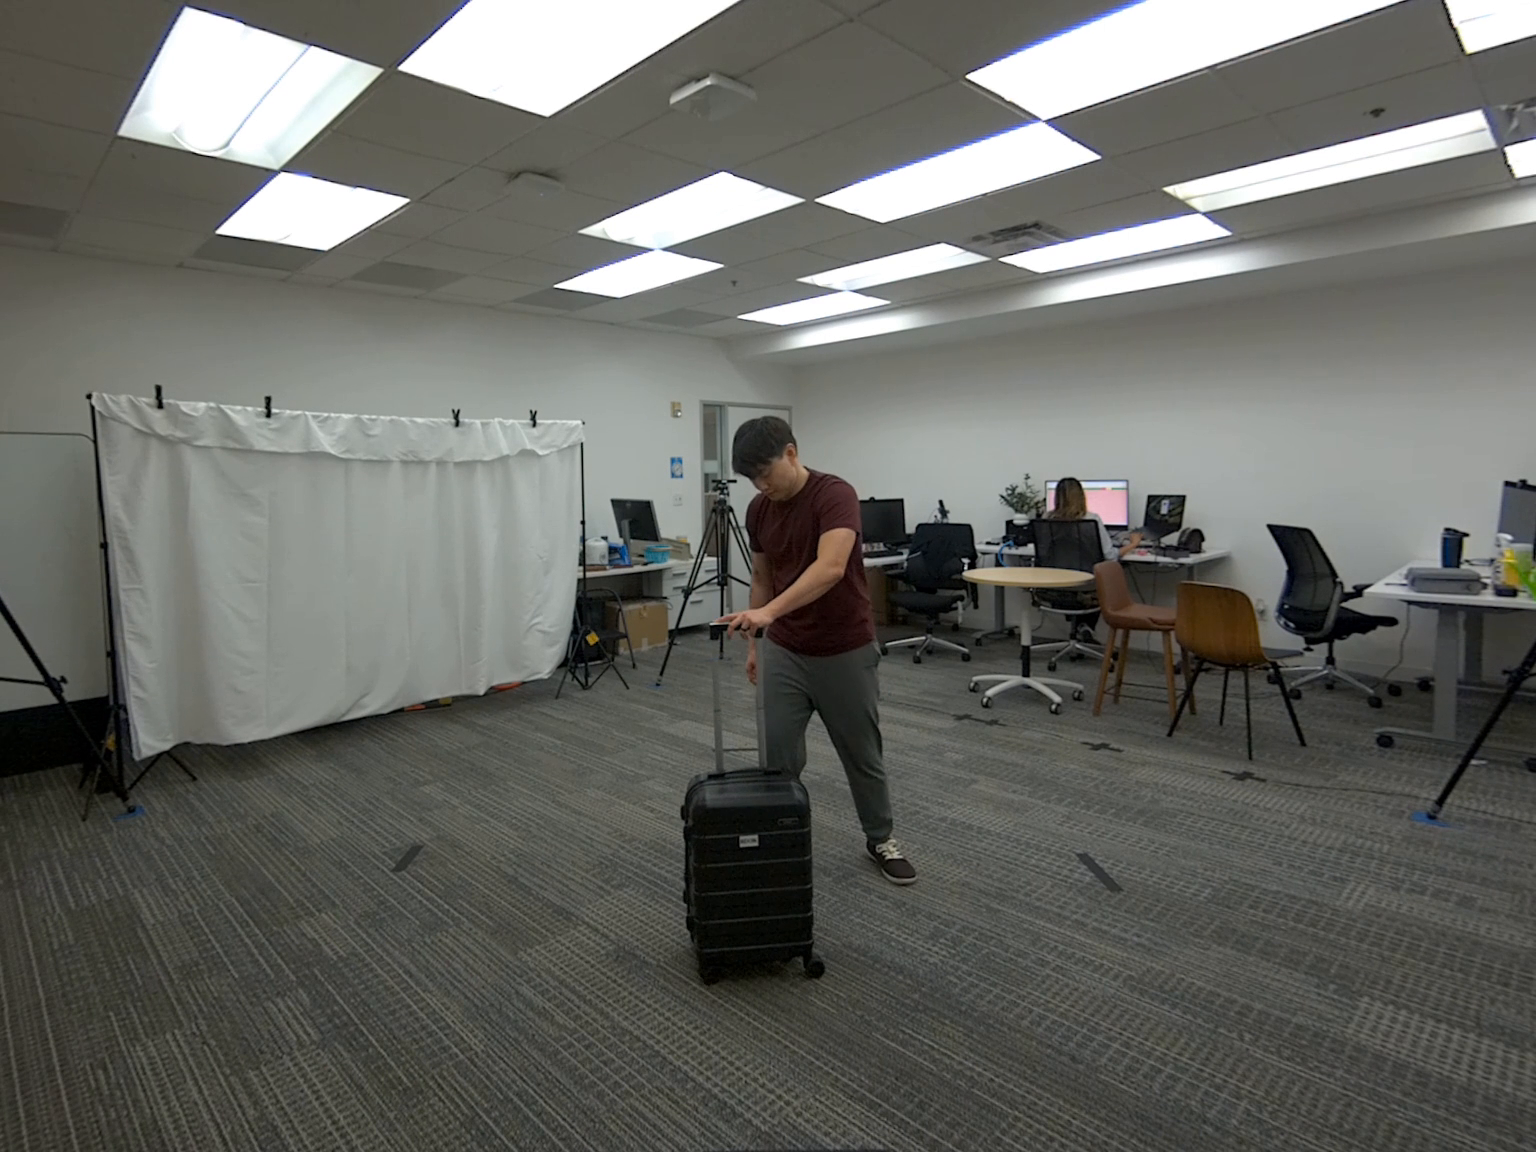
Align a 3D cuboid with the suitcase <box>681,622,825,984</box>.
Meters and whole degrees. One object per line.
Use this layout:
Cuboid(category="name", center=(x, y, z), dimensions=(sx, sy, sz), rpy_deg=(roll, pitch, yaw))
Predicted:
Cuboid(category="suitcase", center=(-0.056, 0.649, 2.459), dimensions=(0.382, 0.972, 0.260), rpy_deg=(-2, 6, -5))
